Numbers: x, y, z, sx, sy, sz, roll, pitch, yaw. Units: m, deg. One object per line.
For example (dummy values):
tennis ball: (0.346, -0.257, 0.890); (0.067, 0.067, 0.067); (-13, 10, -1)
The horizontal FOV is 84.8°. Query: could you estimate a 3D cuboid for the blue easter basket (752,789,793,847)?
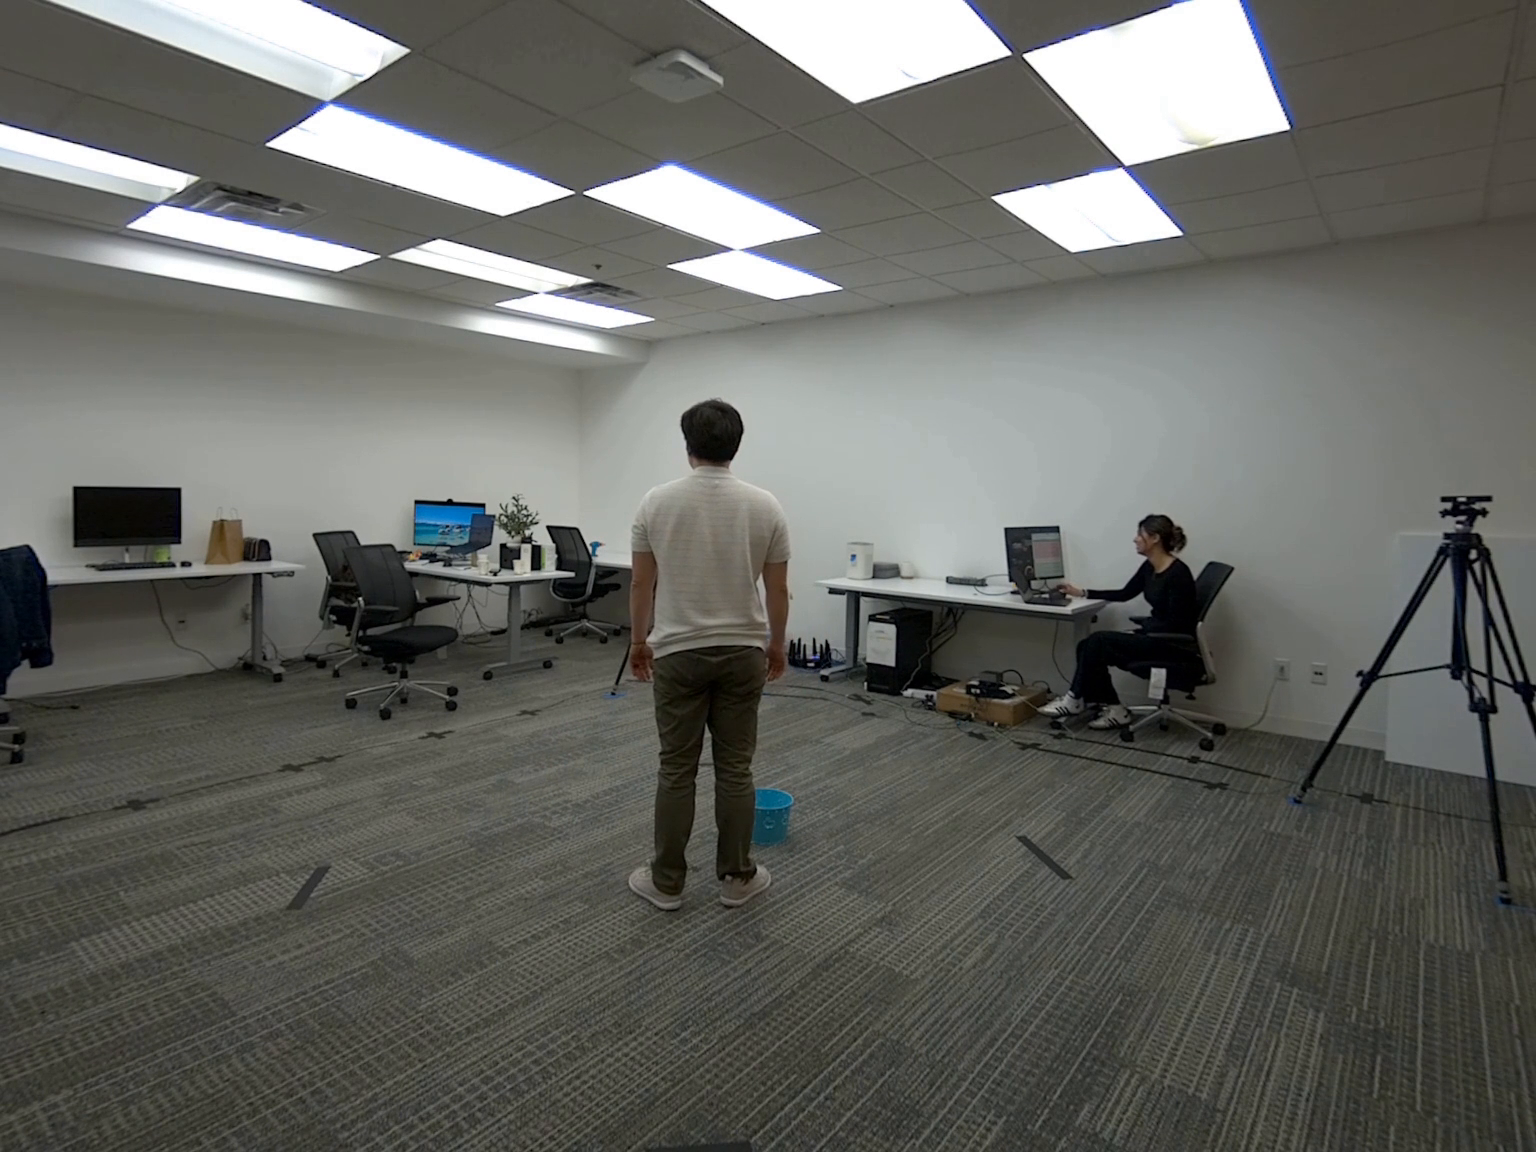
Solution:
blue easter basket: (-0.028, 0.958, 3.421); (0.243, 0.155, 0.245); (1, 5, -2)
